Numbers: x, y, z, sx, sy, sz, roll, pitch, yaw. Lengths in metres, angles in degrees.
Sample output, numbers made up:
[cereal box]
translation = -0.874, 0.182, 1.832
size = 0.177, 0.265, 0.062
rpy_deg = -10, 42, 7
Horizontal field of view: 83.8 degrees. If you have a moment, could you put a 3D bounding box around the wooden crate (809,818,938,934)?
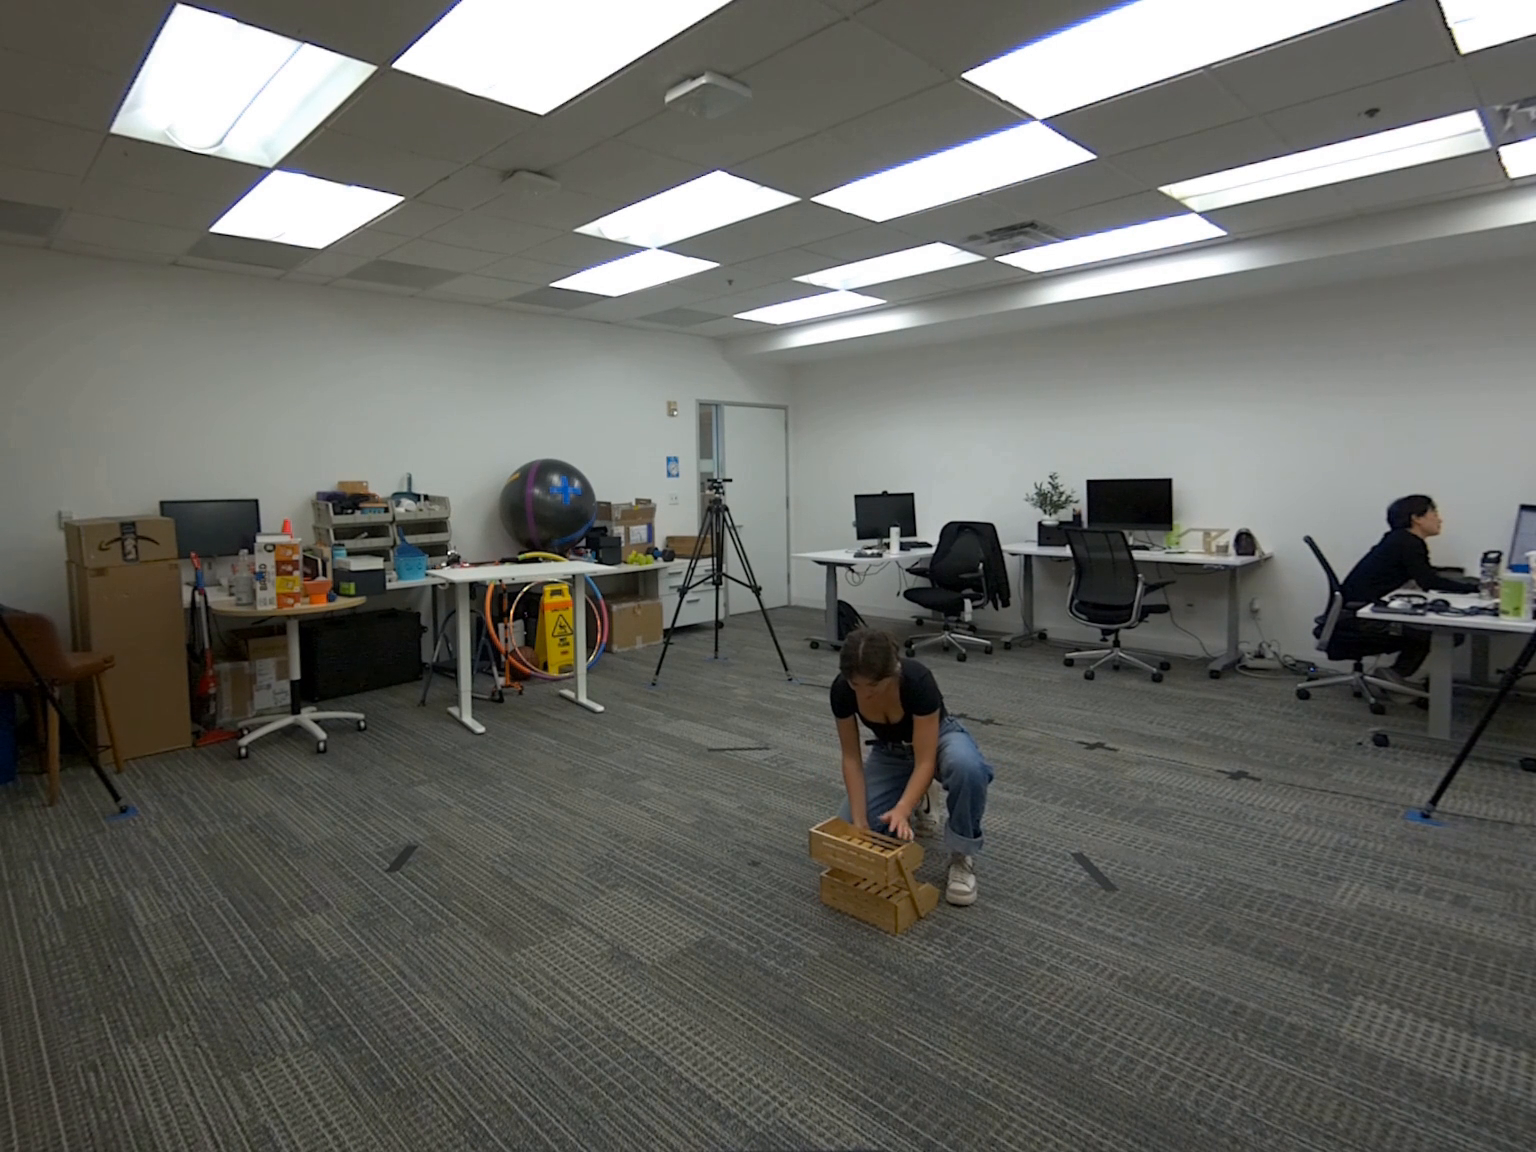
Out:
[wooden crate]
translation = 0.349, 0.939, 2.777
size = 0.334, 0.272, 0.294
rpy_deg = 4, 8, 43
